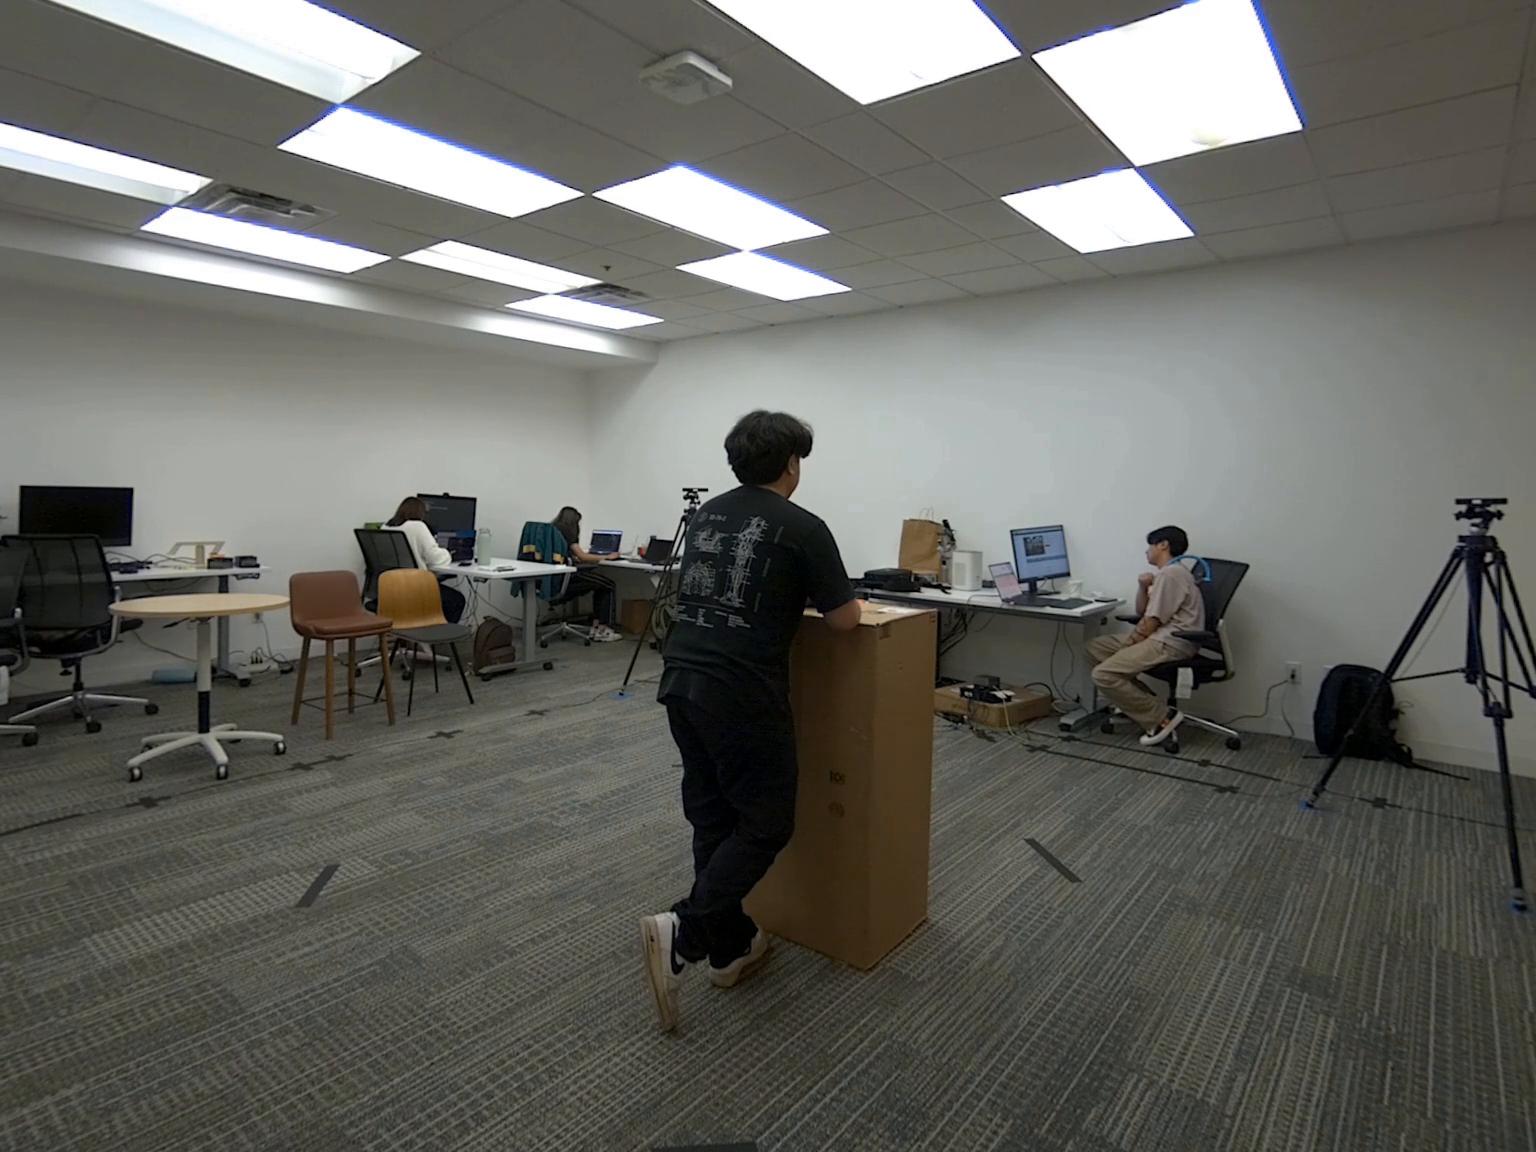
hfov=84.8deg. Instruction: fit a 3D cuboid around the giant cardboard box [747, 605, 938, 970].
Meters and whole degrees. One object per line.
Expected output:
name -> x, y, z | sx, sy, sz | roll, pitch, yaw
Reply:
giant cardboard box -> 0.180, 0.600, 2.781 | 0.603, 1.024, 0.433 | 4, 4, 37
